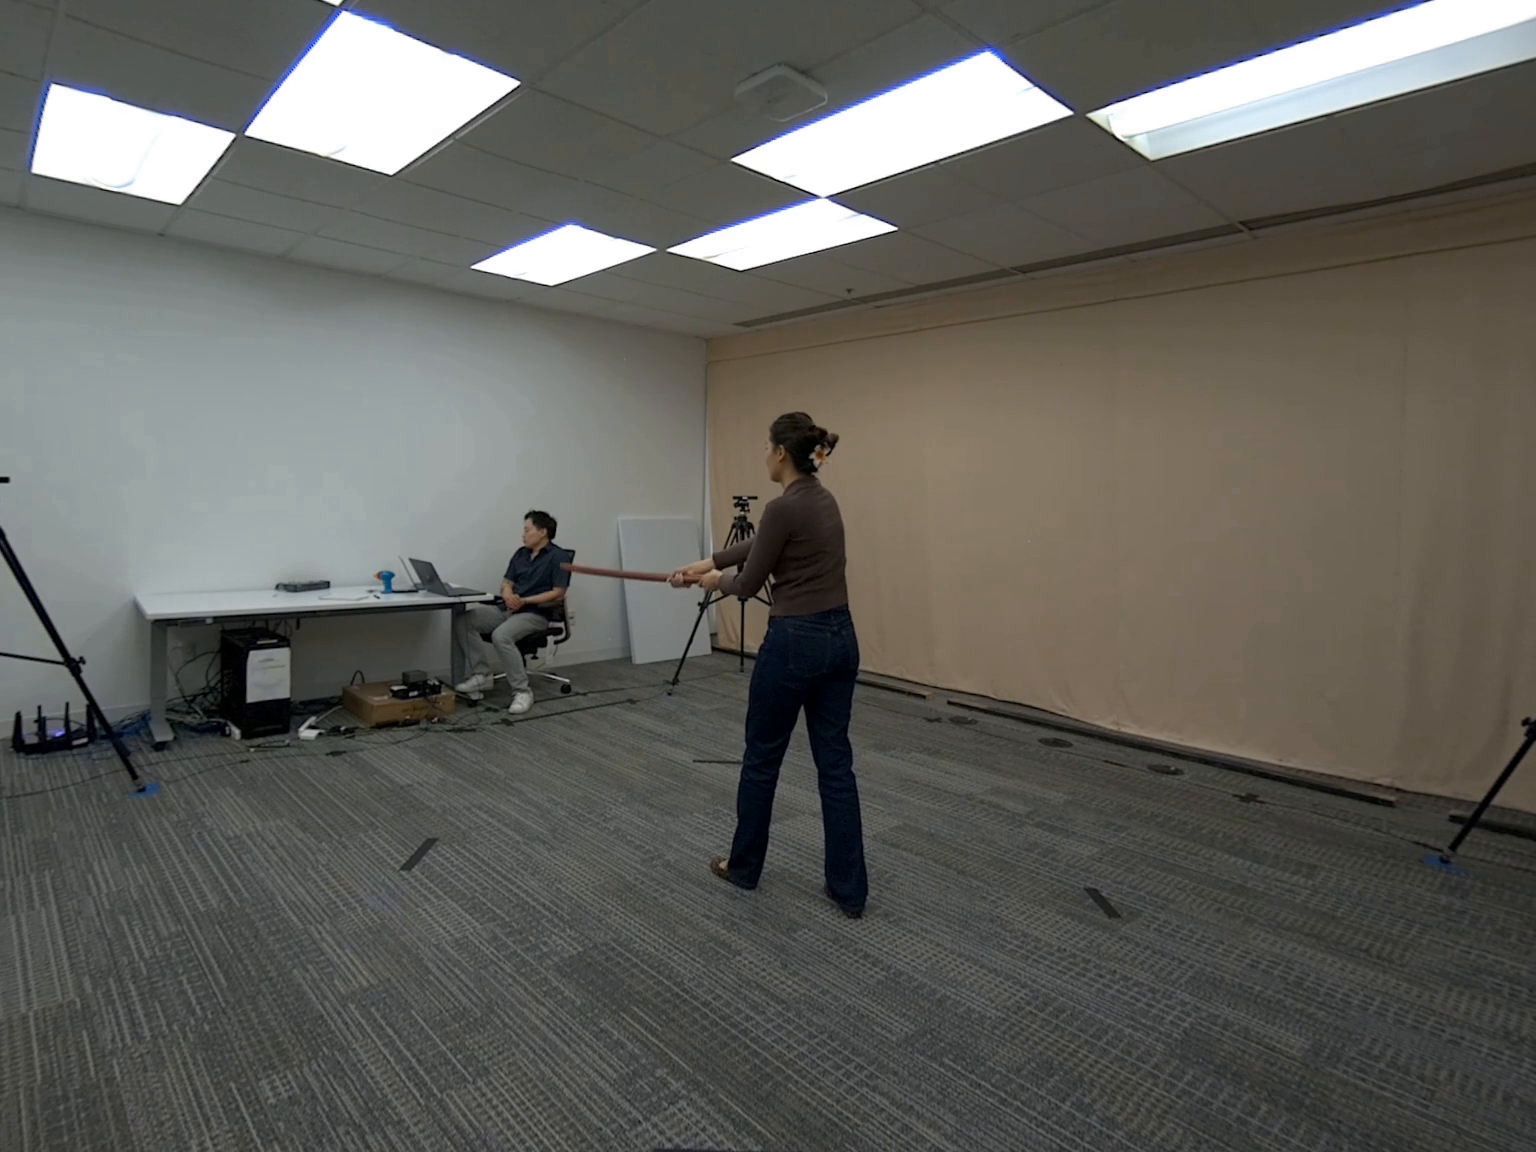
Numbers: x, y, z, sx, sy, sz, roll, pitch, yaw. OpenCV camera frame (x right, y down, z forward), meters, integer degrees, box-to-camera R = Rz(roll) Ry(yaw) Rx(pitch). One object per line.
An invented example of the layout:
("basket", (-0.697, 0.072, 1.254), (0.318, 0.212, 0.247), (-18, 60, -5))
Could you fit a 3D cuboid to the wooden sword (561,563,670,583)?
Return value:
("wooden sword", (-0.605, -0.006, 3.512), (1.051, 0.050, 0.024), (6, 36, 46))
